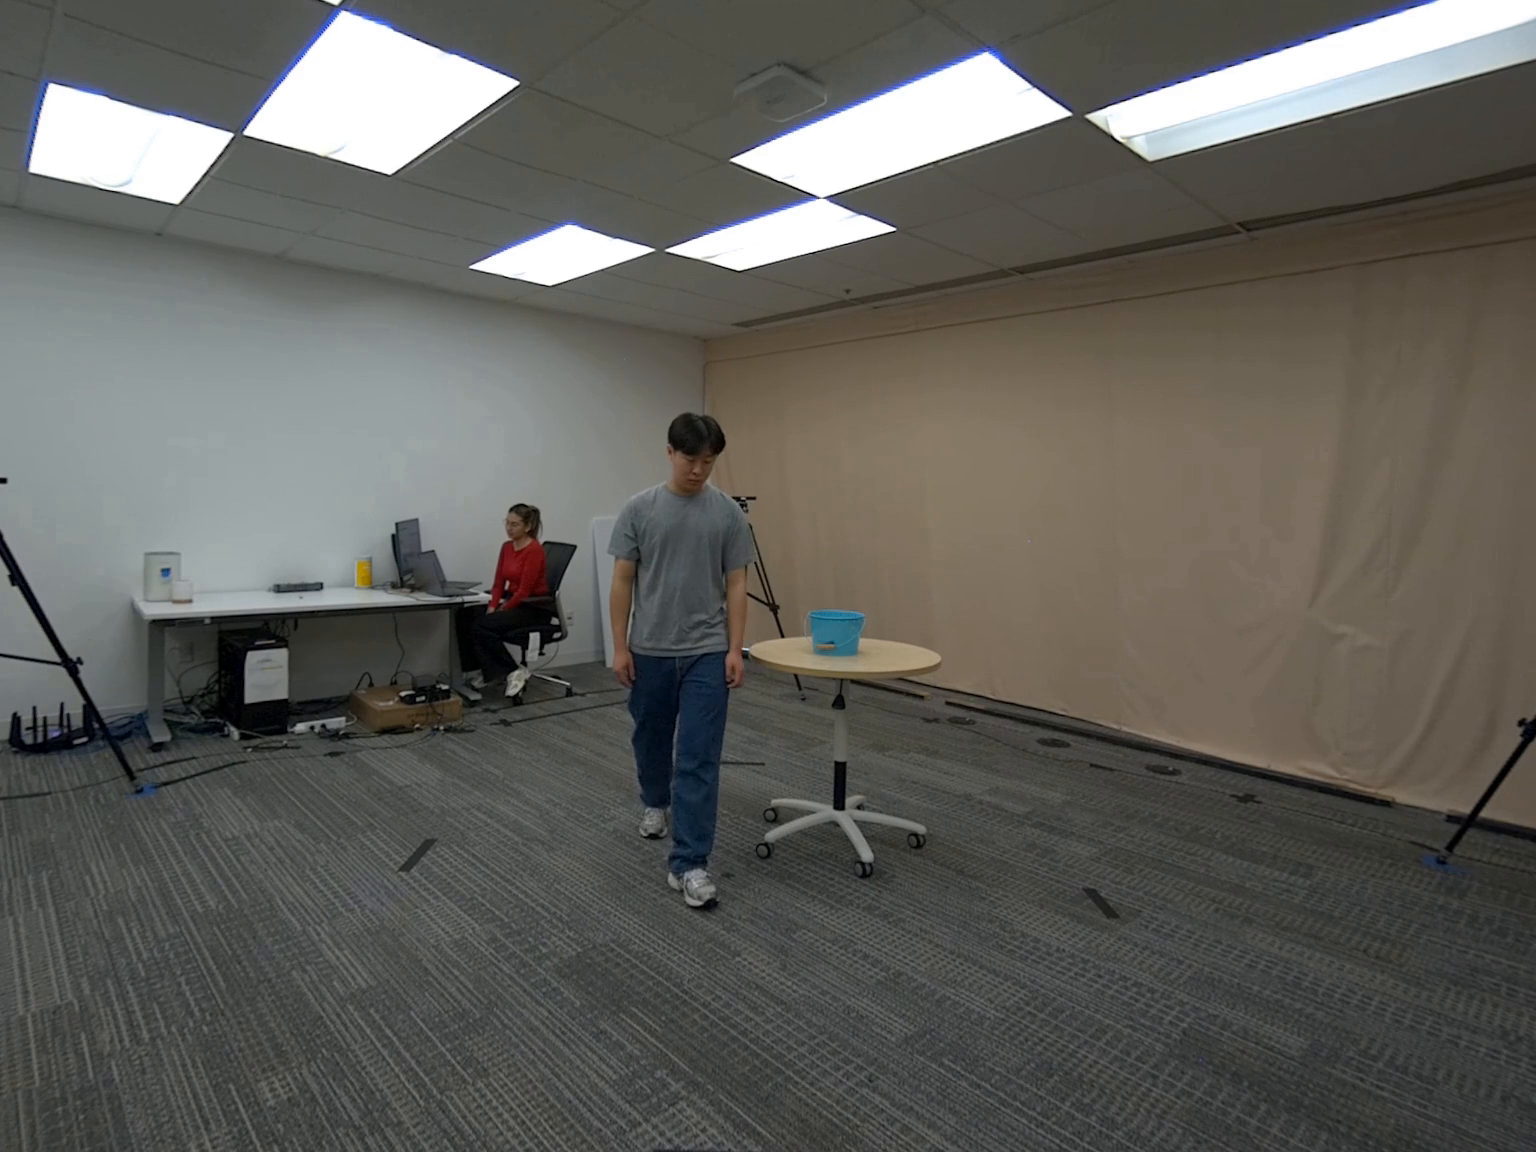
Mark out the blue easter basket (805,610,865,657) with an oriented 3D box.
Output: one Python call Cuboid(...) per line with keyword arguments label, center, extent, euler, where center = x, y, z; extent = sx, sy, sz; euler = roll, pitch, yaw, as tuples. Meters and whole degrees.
Cuboid(label="blue easter basket", center=(0.269, 0.235, 3.411), extent=(0.243, 0.155, 0.244), euler=(2, 3, -1))
